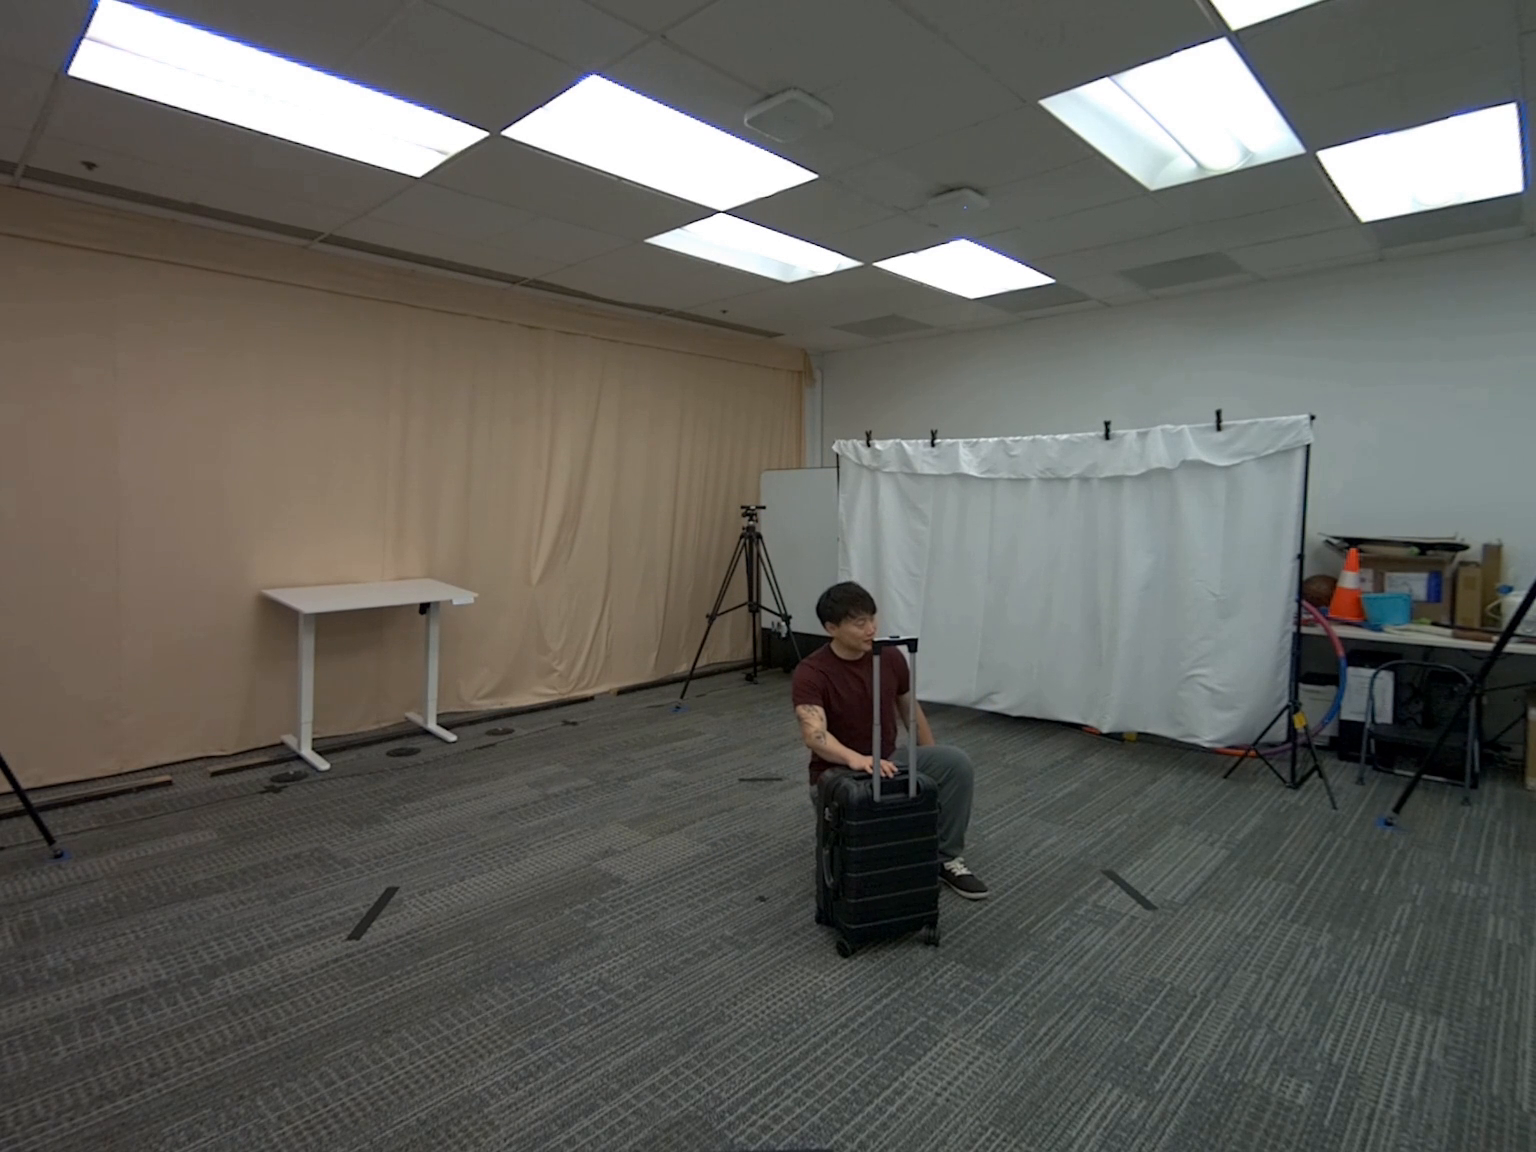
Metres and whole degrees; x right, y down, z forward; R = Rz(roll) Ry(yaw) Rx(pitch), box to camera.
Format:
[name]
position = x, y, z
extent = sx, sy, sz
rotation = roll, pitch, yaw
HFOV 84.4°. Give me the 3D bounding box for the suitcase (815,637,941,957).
[suitcase]
position = 0.349, 0.682, 2.718
extent = 0.377, 0.977, 0.262
rotation = 0, 2, -17
